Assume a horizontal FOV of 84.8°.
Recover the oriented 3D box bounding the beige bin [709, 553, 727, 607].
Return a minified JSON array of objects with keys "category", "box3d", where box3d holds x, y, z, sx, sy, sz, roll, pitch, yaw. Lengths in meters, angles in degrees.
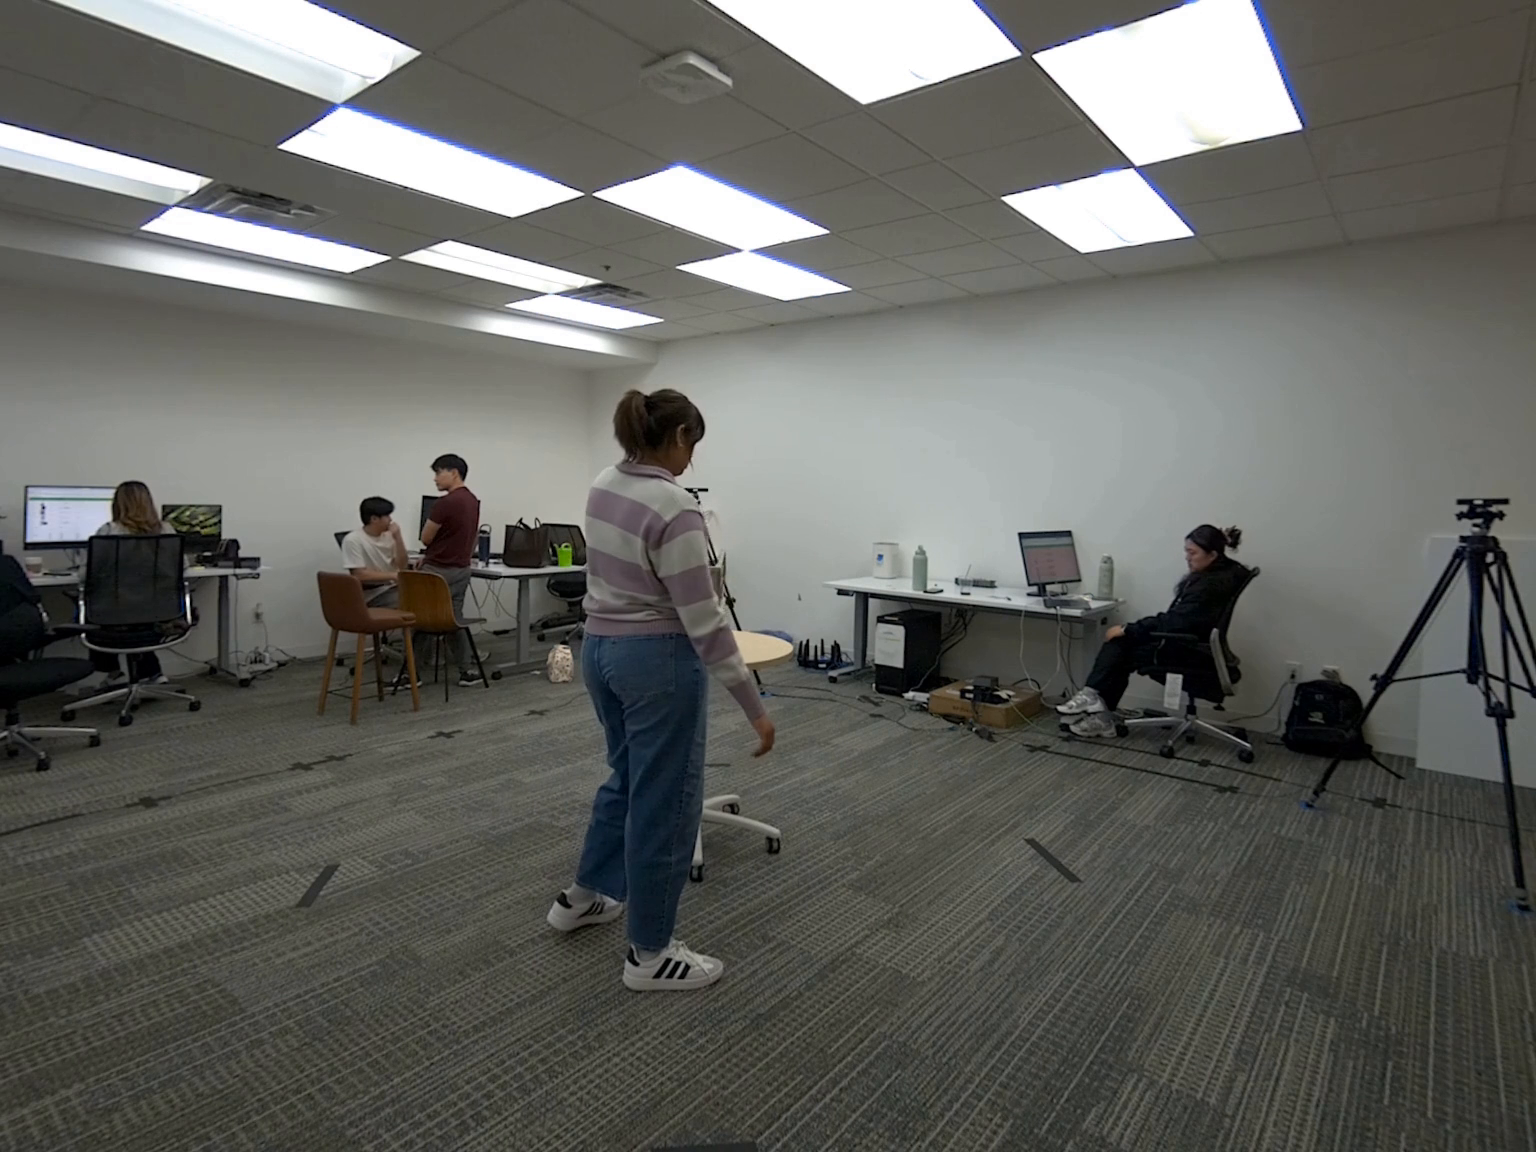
[{"category":"beige bin","box3d":[-0.366,0.027,2.753,0.423,0.187,0.381,-2,12,1]}]
